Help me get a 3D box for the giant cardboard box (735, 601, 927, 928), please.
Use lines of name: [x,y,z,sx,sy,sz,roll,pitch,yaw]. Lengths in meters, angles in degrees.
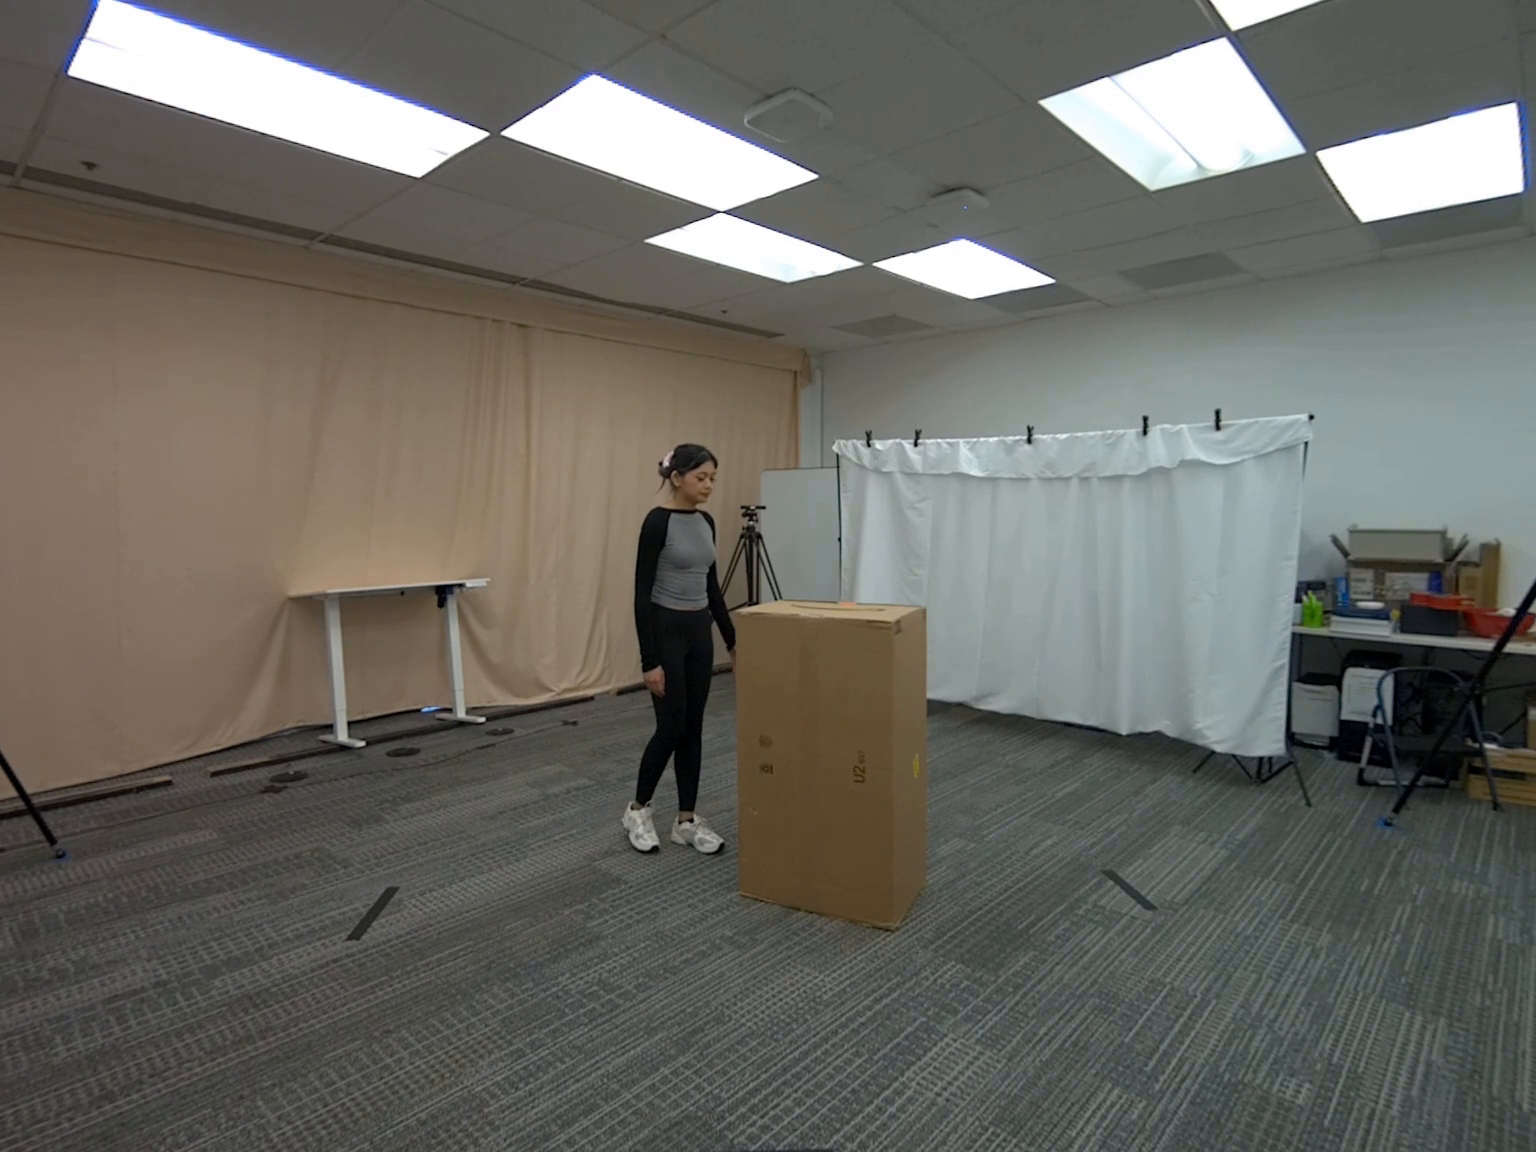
giant cardboard box: [0.242,0.632,3.042,0.599,1.024,0.436,1,4,26]
